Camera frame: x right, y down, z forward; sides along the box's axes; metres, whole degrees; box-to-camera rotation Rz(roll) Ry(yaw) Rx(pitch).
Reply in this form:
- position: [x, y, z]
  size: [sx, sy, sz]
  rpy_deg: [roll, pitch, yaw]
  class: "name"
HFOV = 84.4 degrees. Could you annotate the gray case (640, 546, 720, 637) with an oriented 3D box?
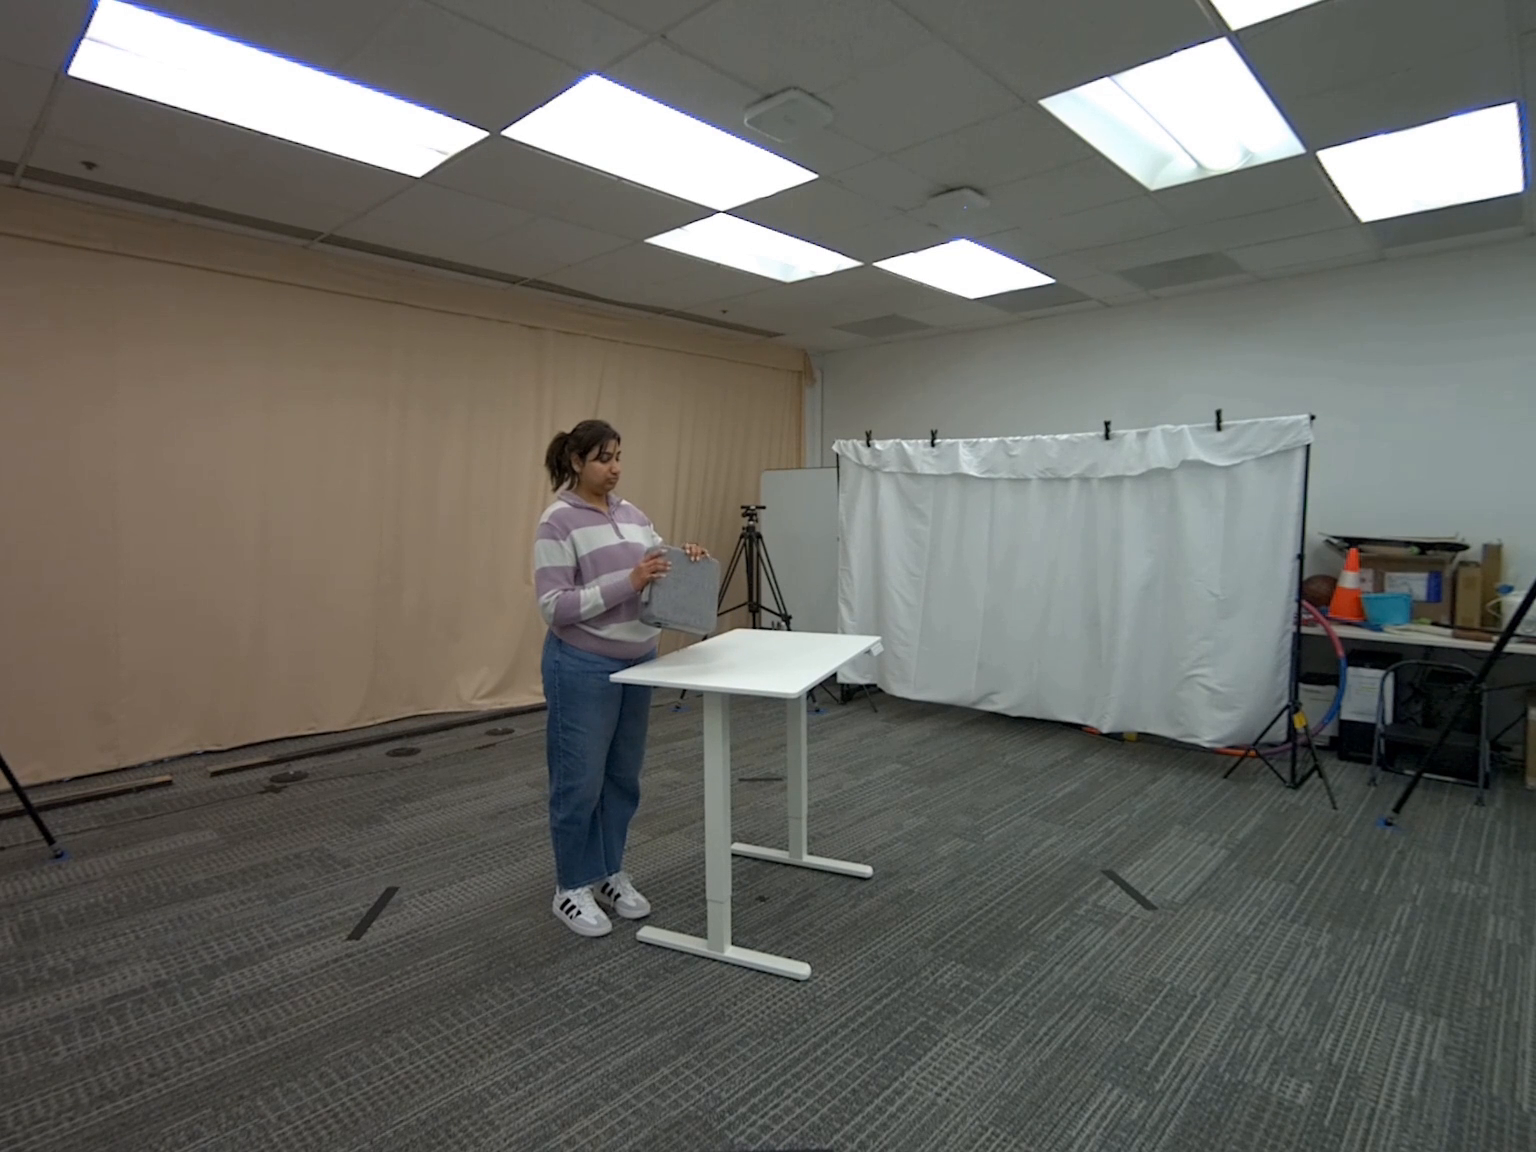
- position: [-0.280, 0.041, 2.680]
  size: [0.252, 0.259, 0.107]
  rpy_deg: [14, -18, -31]
  class: "gray case"
